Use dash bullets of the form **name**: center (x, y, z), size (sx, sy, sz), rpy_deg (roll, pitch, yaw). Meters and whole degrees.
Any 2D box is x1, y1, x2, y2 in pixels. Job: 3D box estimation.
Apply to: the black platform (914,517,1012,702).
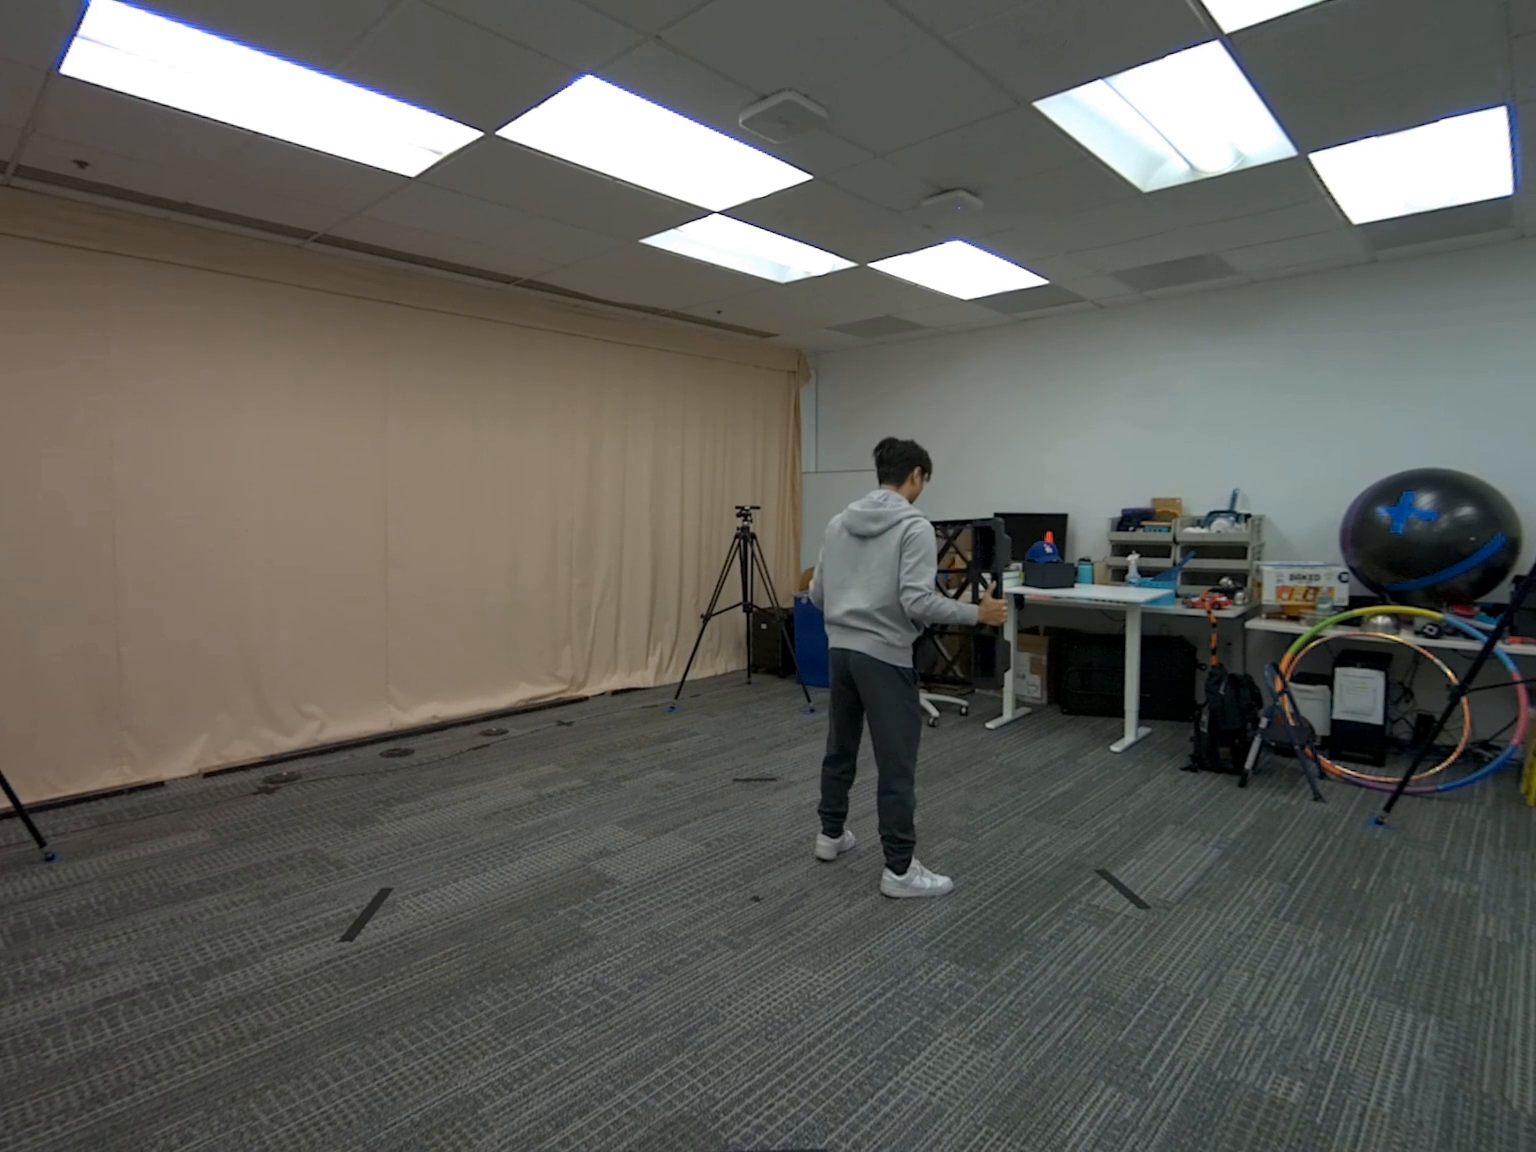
- **black platform**: center (0.573, 0.105, 3.251), size (0.139, 0.606, 0.831), rpy_deg (3, -3, -41)
